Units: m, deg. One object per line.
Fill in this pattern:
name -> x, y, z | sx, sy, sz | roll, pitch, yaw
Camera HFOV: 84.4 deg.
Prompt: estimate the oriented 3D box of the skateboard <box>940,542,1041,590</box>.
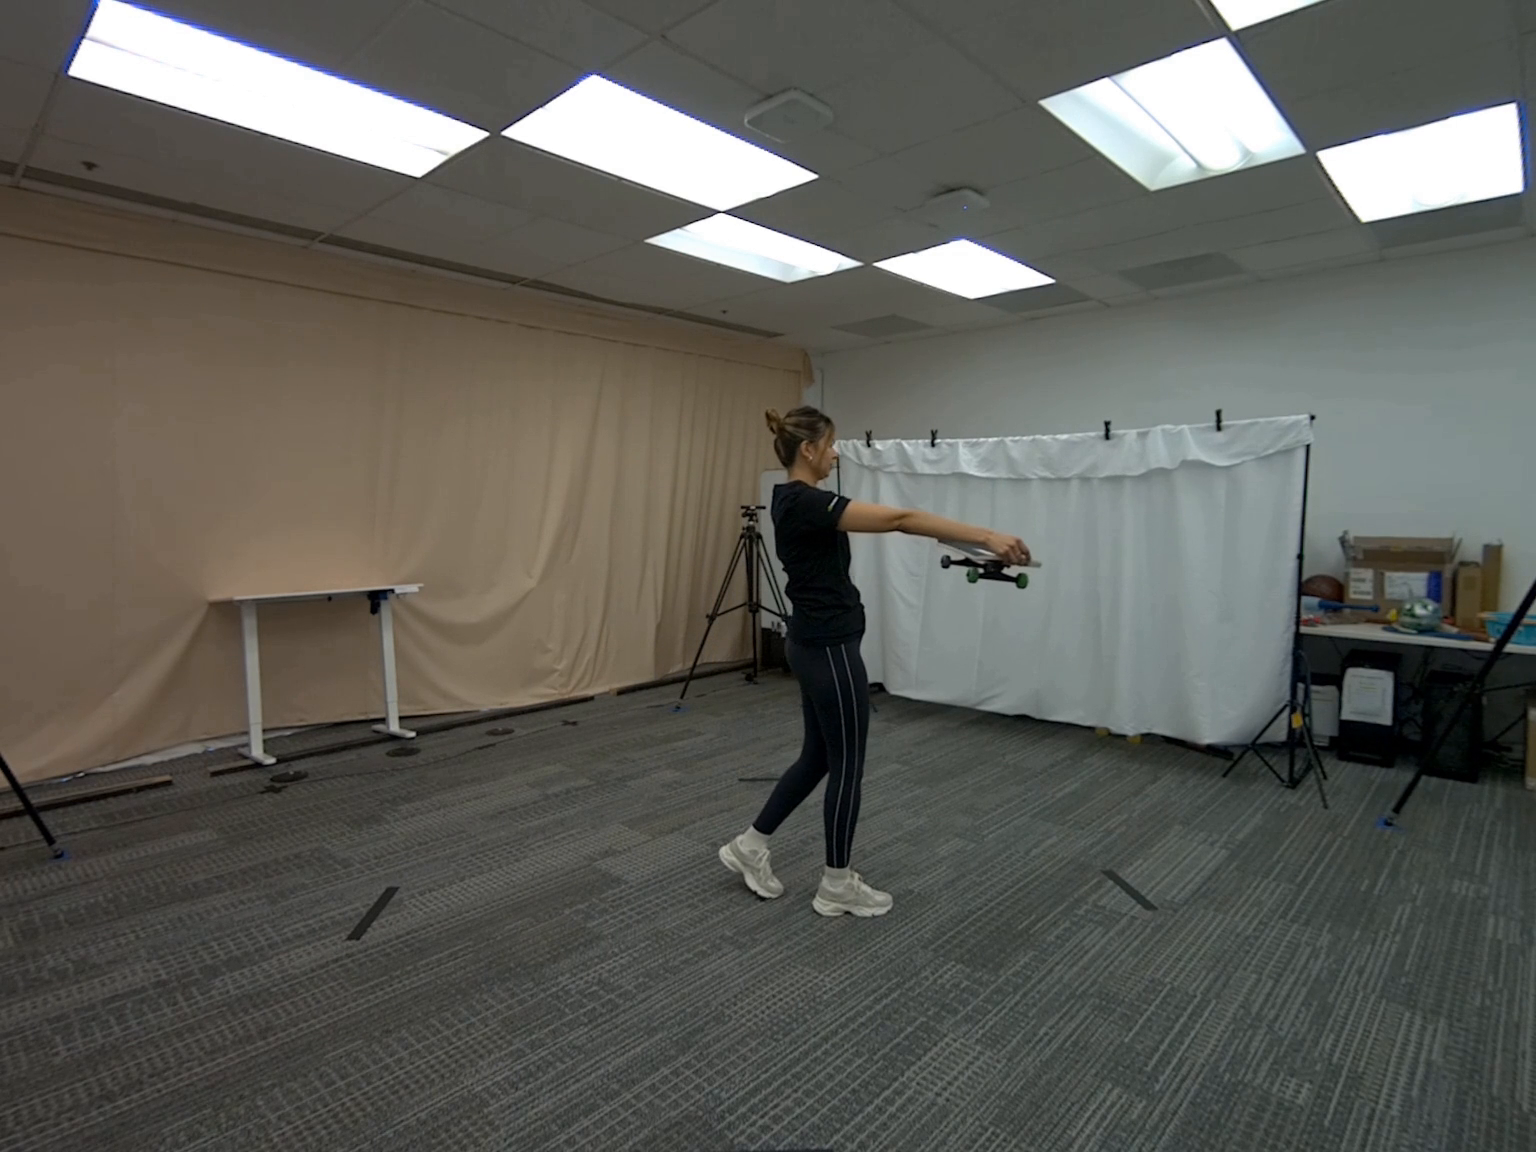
skateboard -> 0.719, -0.037, 2.848 | 0.193, 0.110, 0.787 | 5, 7, -1
